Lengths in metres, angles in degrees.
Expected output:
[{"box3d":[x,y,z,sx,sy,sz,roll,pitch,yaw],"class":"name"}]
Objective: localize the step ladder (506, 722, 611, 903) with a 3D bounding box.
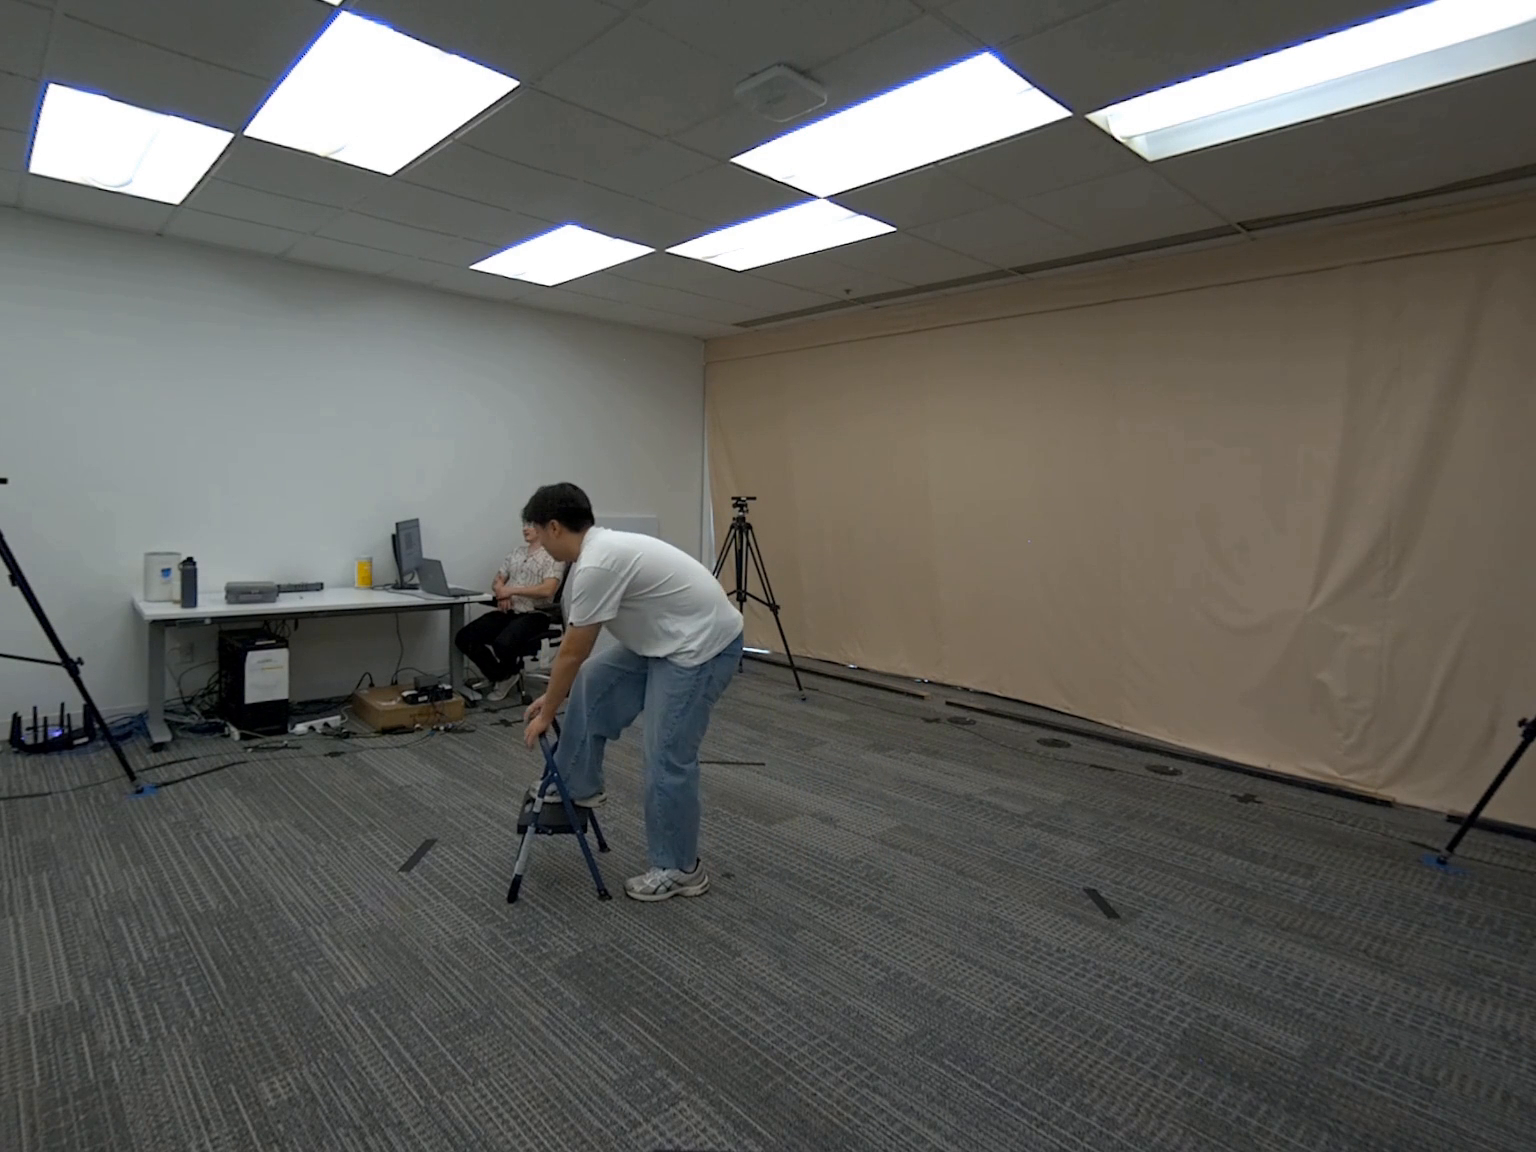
[{"box3d":[-0.753,0.795,3.070,0.346,0.605,0.435,0,3,-11],"class":"step ladder"}]
